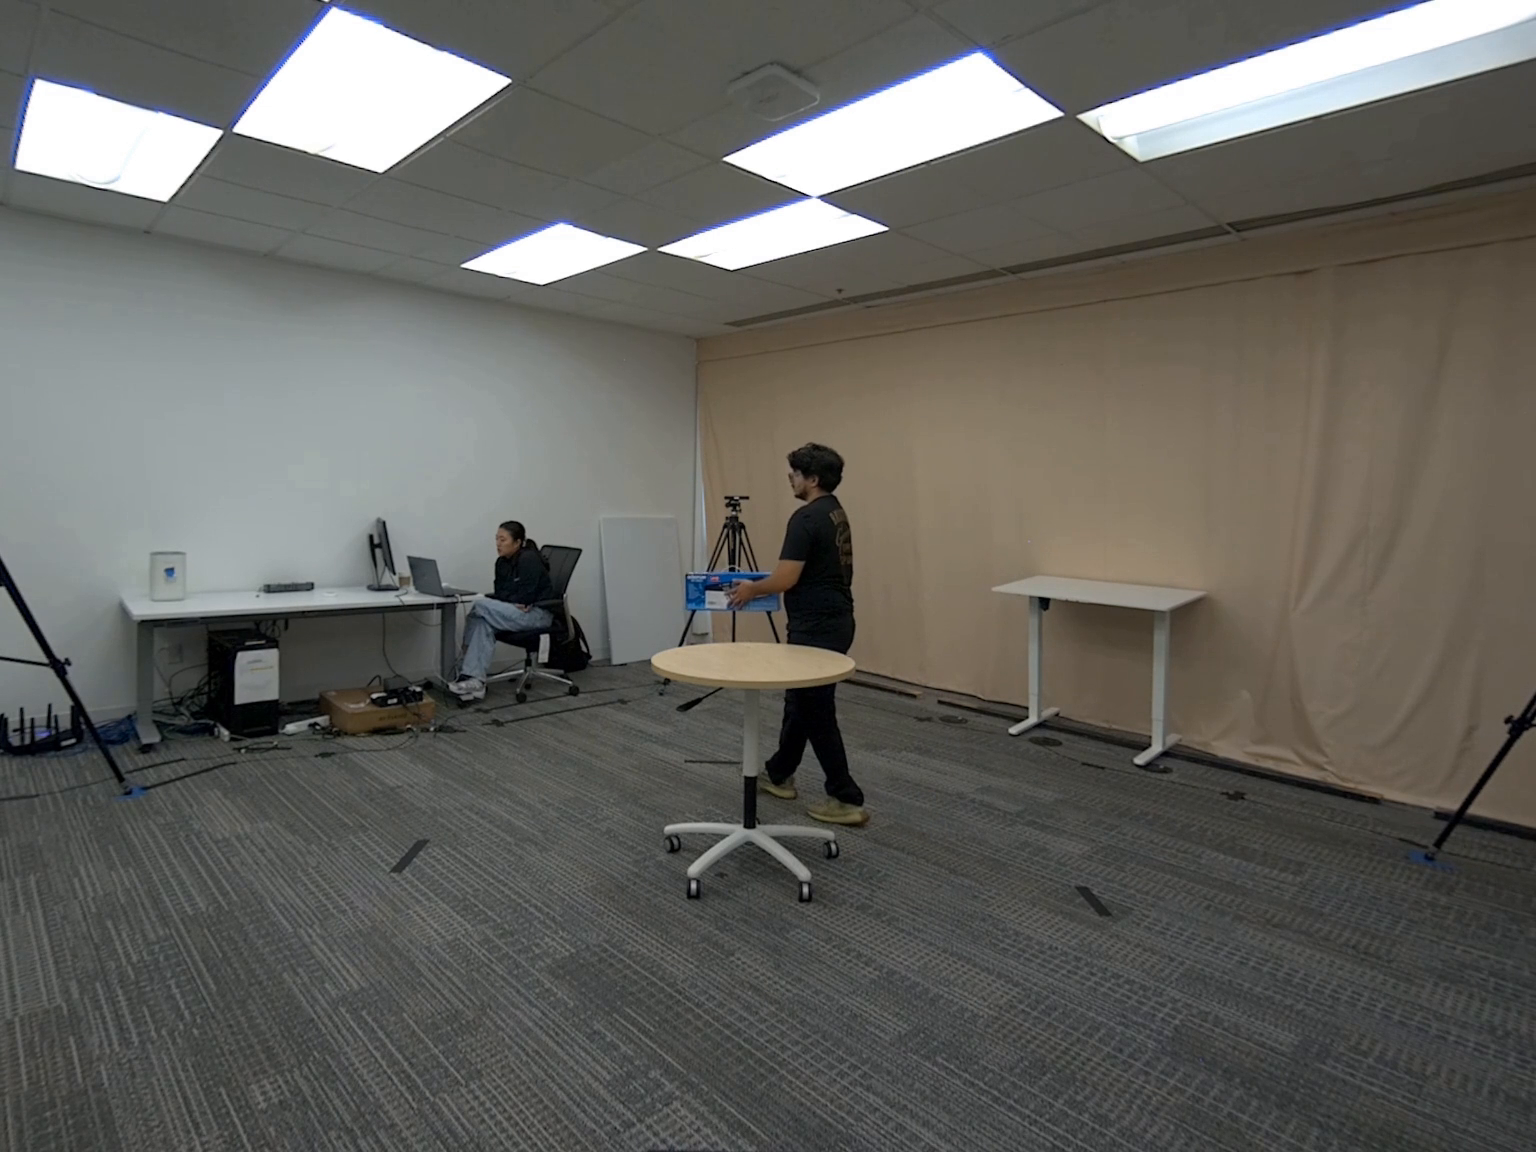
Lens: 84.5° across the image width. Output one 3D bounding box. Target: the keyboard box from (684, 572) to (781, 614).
[{"bbox_3d":[-0.172,0.070,3.869,0.442,0.175,0.058,1,5,14],"label":"keyboard box"}]
